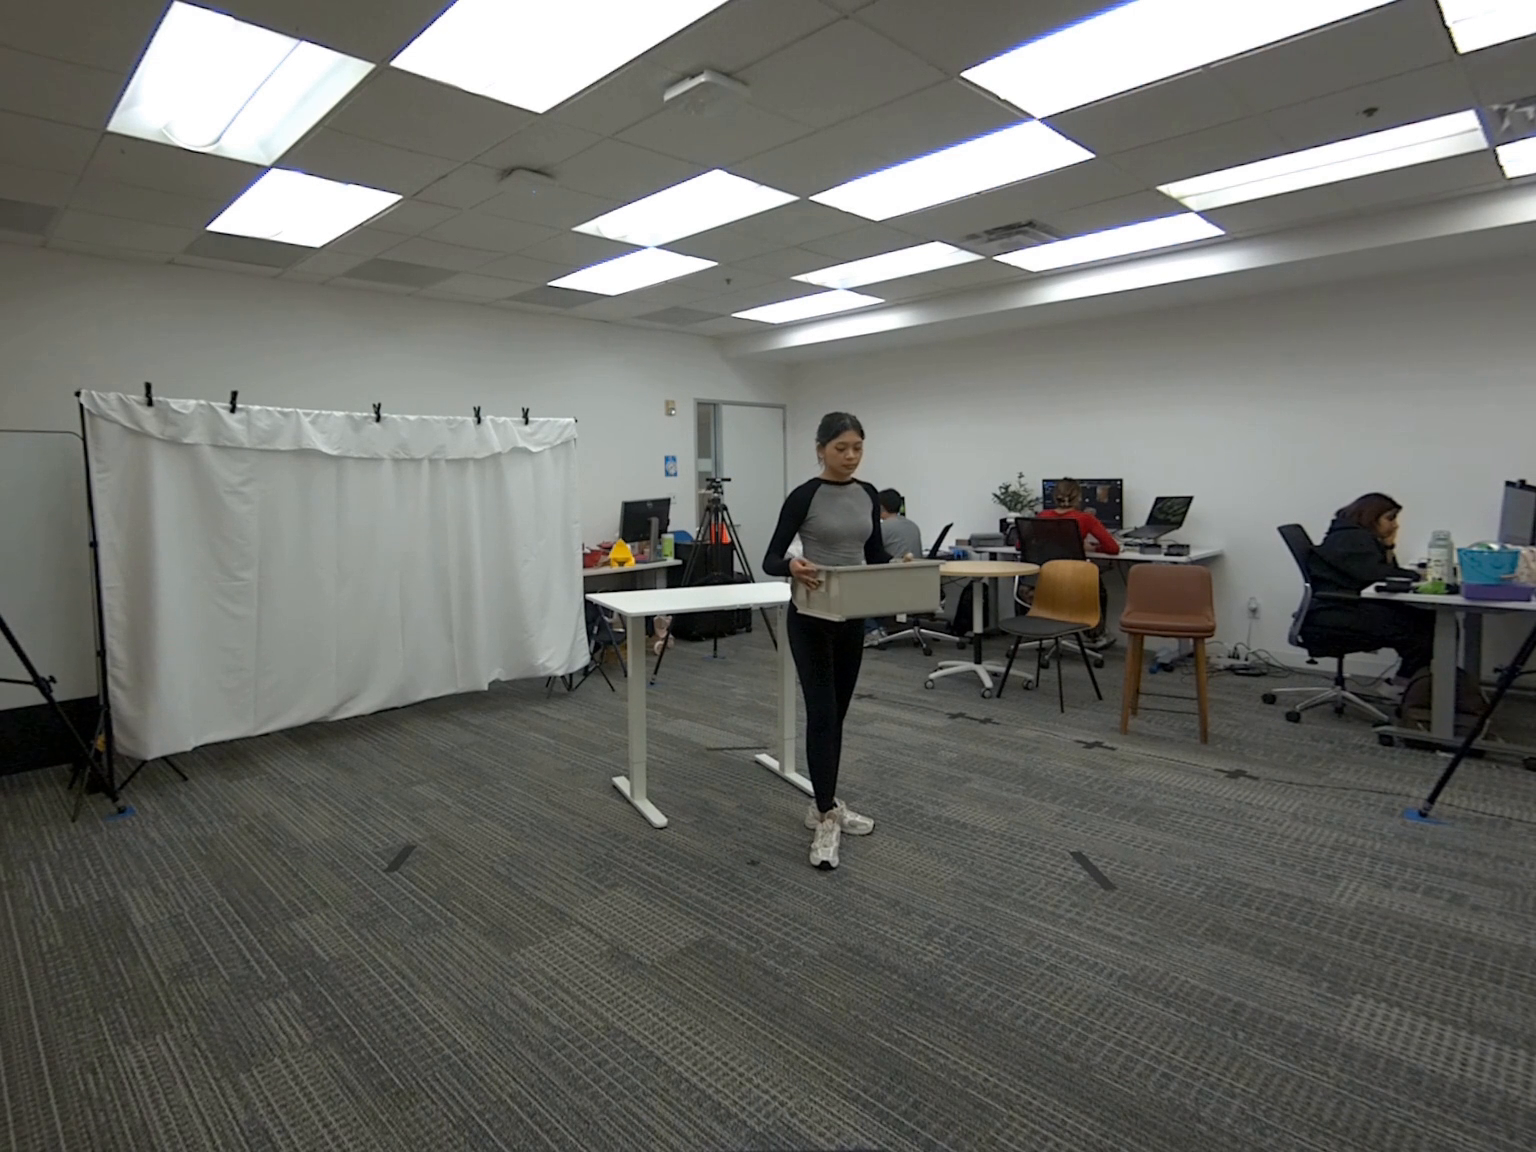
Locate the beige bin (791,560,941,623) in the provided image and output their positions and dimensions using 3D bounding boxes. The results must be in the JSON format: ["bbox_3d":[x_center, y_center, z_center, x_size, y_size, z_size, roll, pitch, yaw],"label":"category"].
[{"bbox_3d":[0.344,0.040,3.037,0.415,0.188,0.386,-2,6,-21],"label":"beige bin"}]
